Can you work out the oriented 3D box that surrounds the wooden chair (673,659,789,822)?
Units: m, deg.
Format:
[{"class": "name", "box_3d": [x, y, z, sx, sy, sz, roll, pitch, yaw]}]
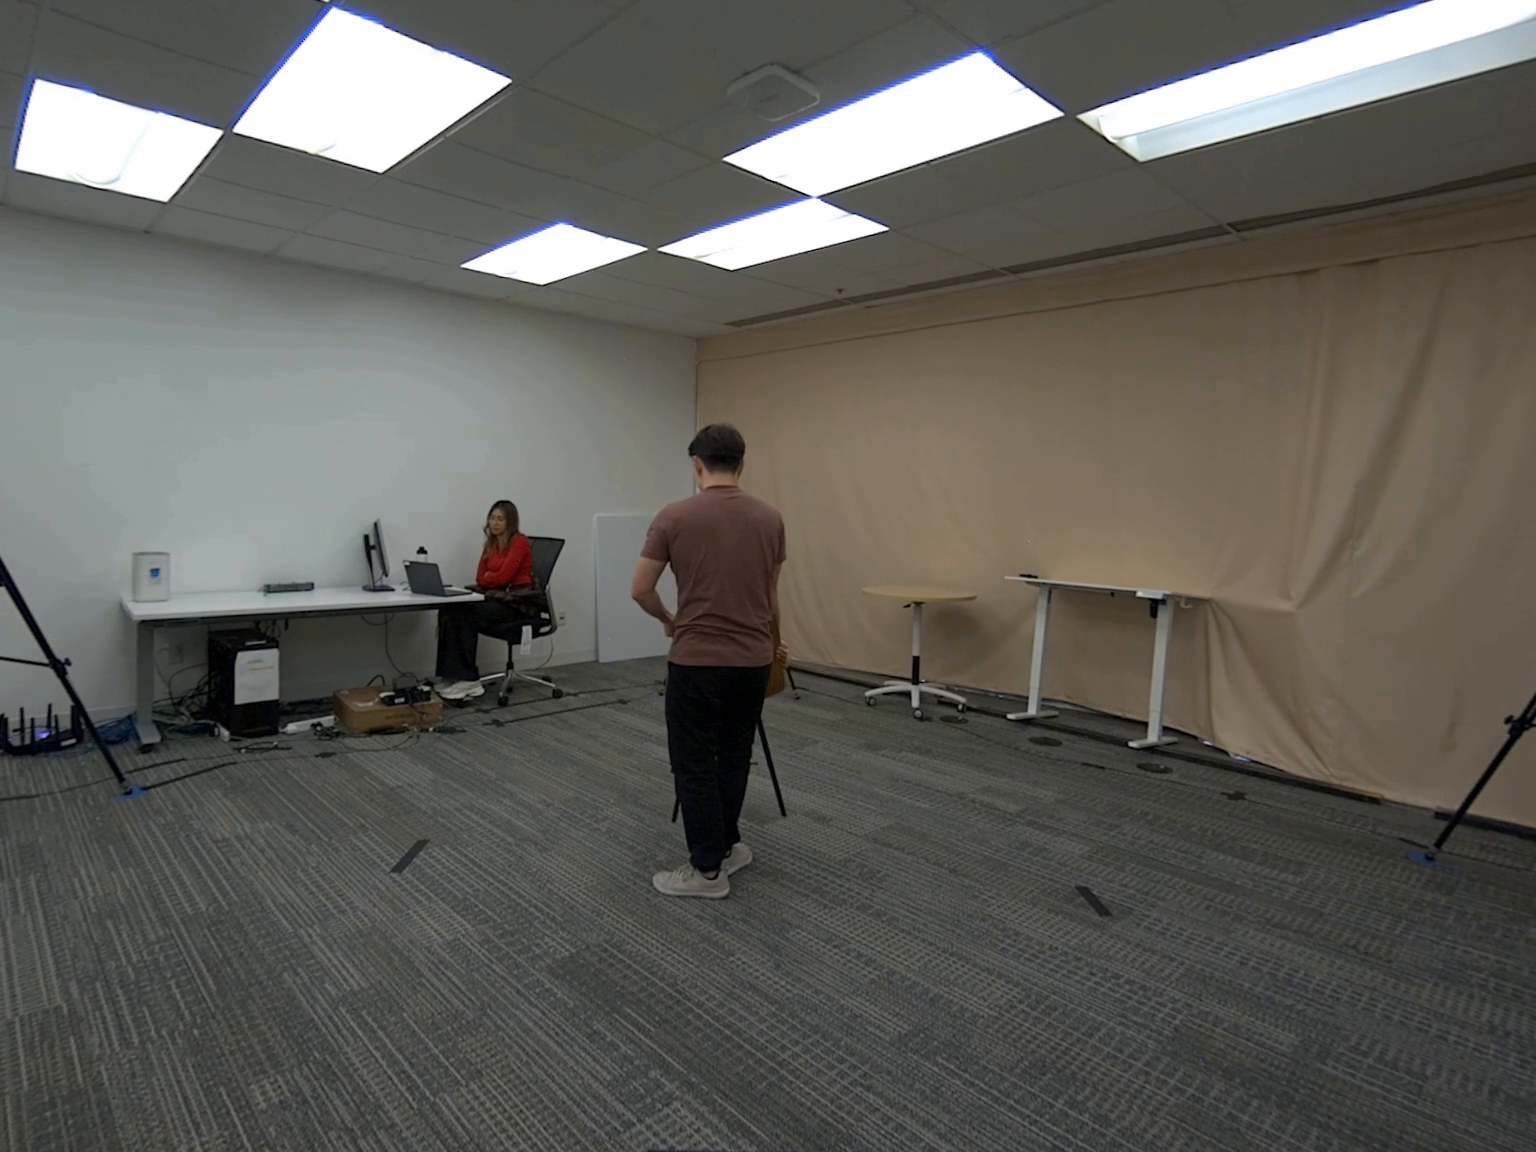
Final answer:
[{"class": "wooden chair", "box_3d": [-0.185, 0.496, 3.450, 0.476, 0.868, 0.531, -2, 14, -6]}]
